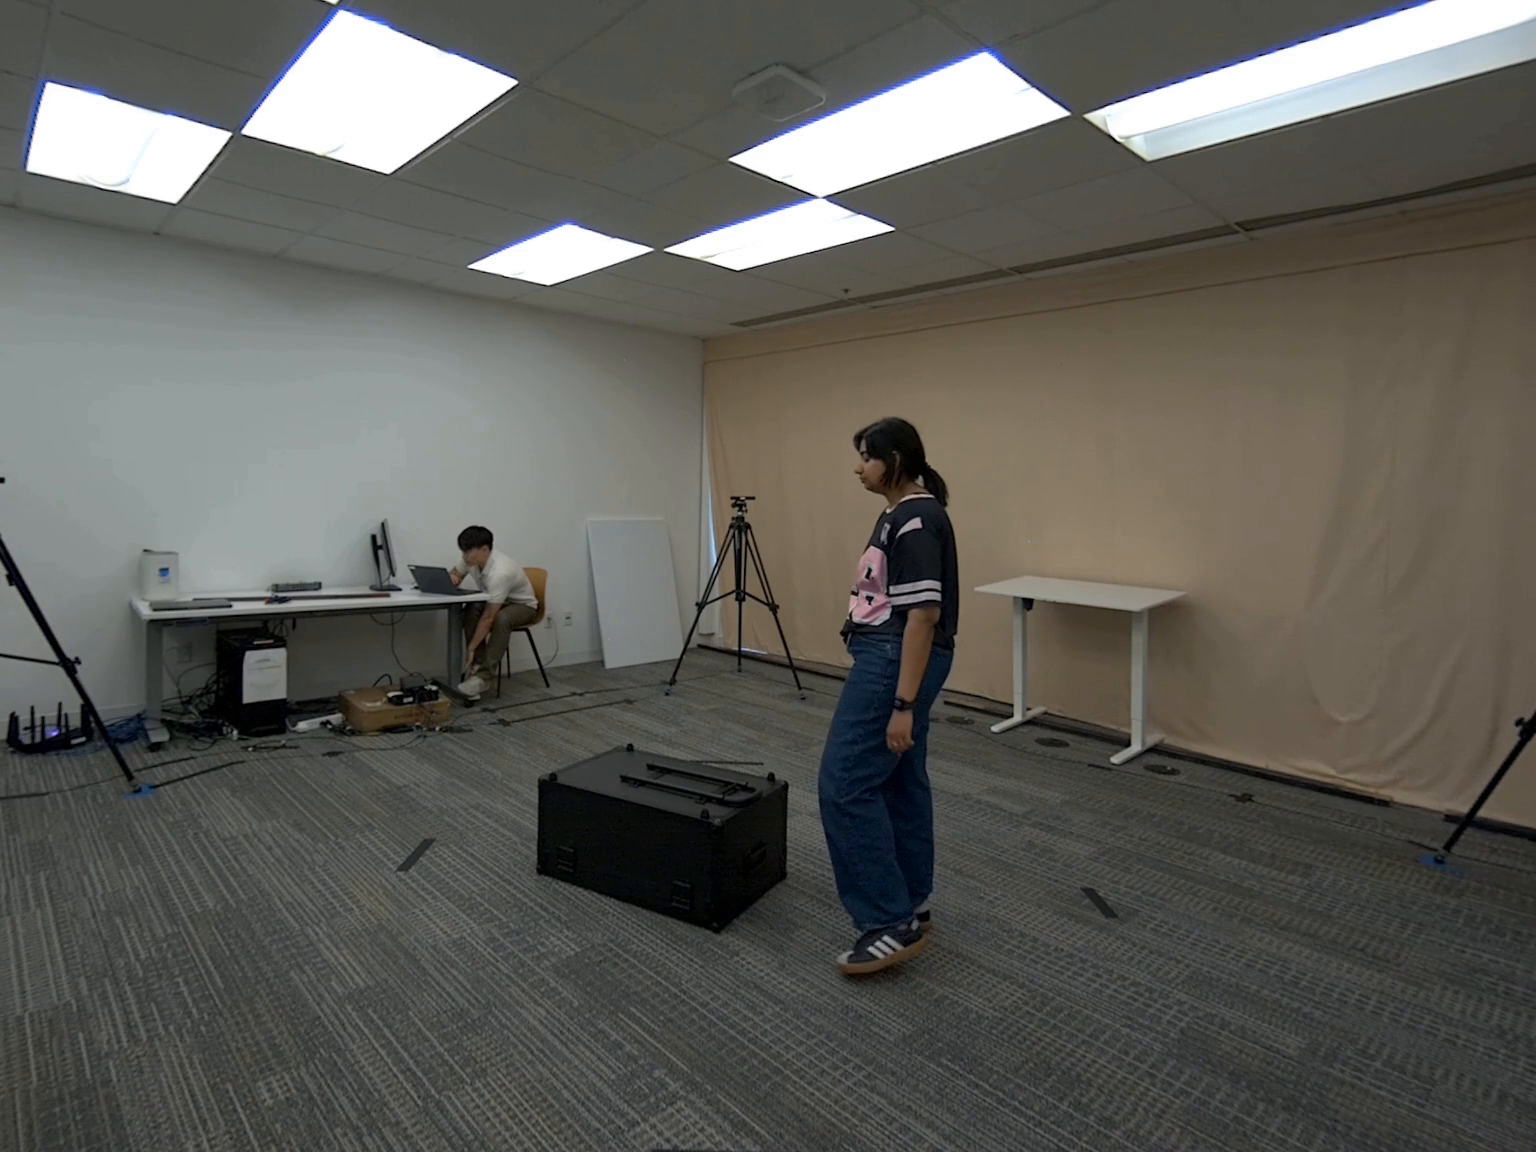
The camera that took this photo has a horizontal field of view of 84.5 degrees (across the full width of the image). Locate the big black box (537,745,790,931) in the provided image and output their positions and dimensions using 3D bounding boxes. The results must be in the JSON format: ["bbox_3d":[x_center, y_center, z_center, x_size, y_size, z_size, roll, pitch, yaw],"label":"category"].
[{"bbox_3d":[-0.425,0.905,3.092,0.880,0.395,0.511,3,5,30],"label":"big black box"}]
